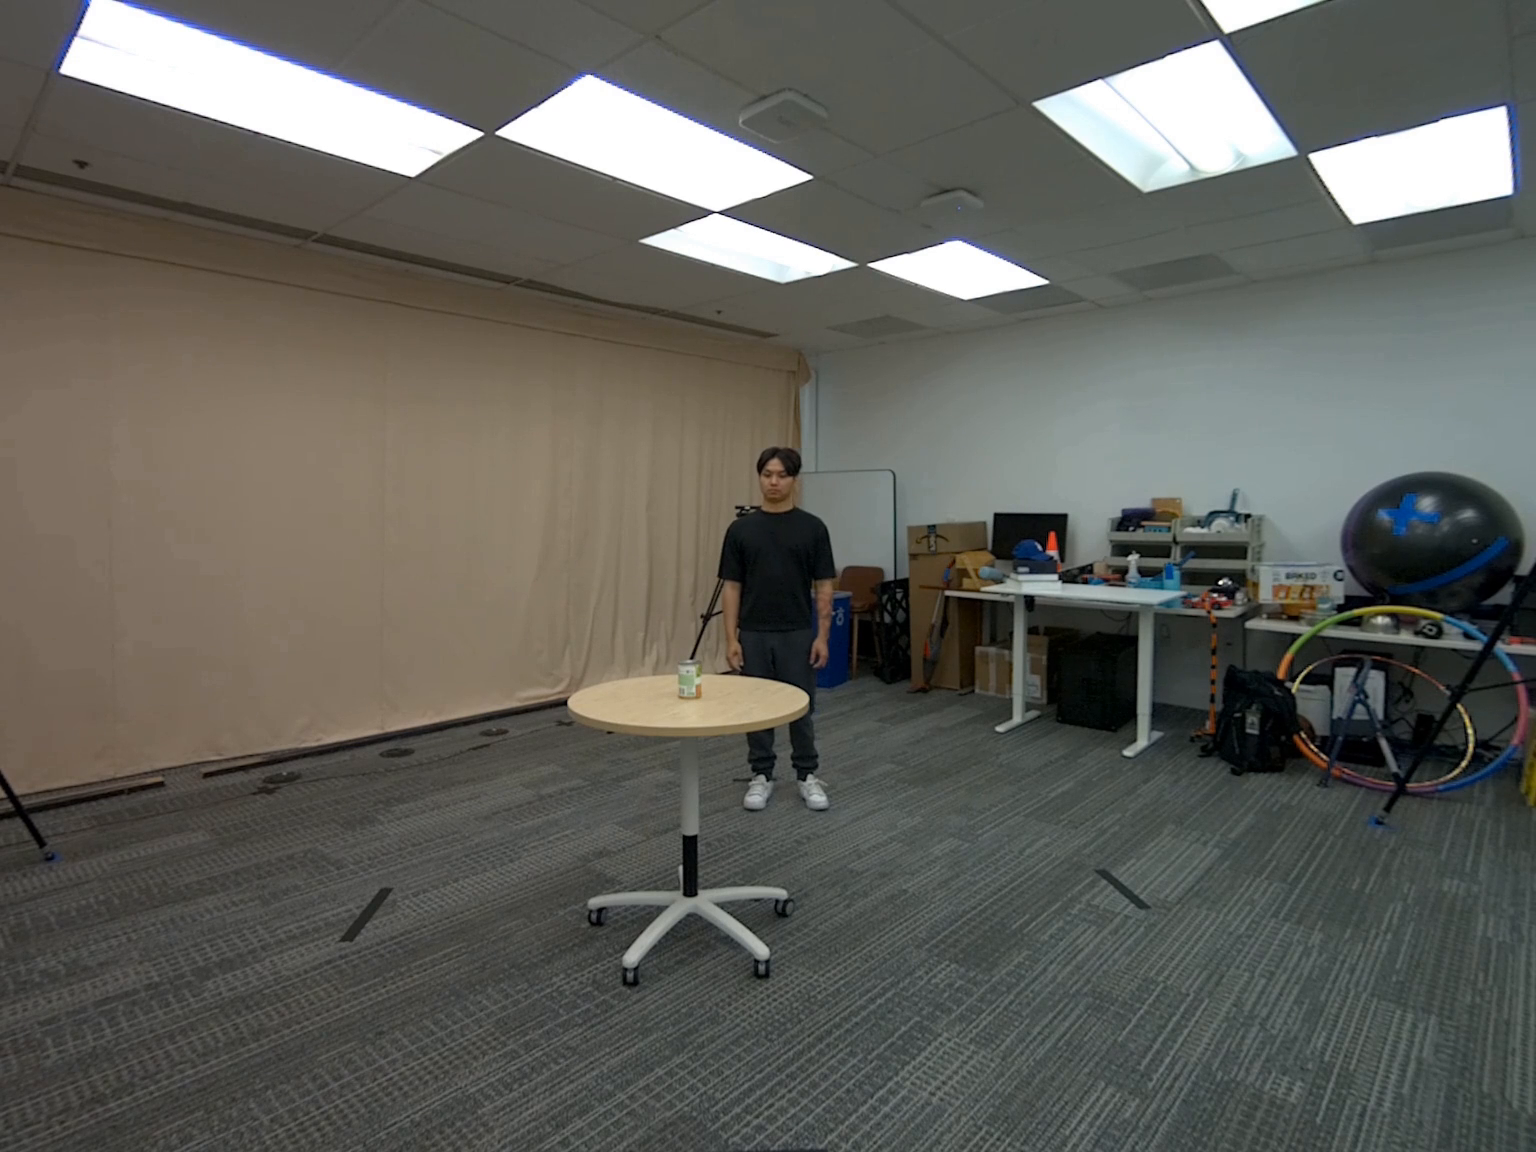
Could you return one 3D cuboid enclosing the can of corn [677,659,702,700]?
[{"bbox_3d":[-0.248,0.329,2.690,0.074,0.111,0.074,0,2,-2],"label":"can of corn"}]
